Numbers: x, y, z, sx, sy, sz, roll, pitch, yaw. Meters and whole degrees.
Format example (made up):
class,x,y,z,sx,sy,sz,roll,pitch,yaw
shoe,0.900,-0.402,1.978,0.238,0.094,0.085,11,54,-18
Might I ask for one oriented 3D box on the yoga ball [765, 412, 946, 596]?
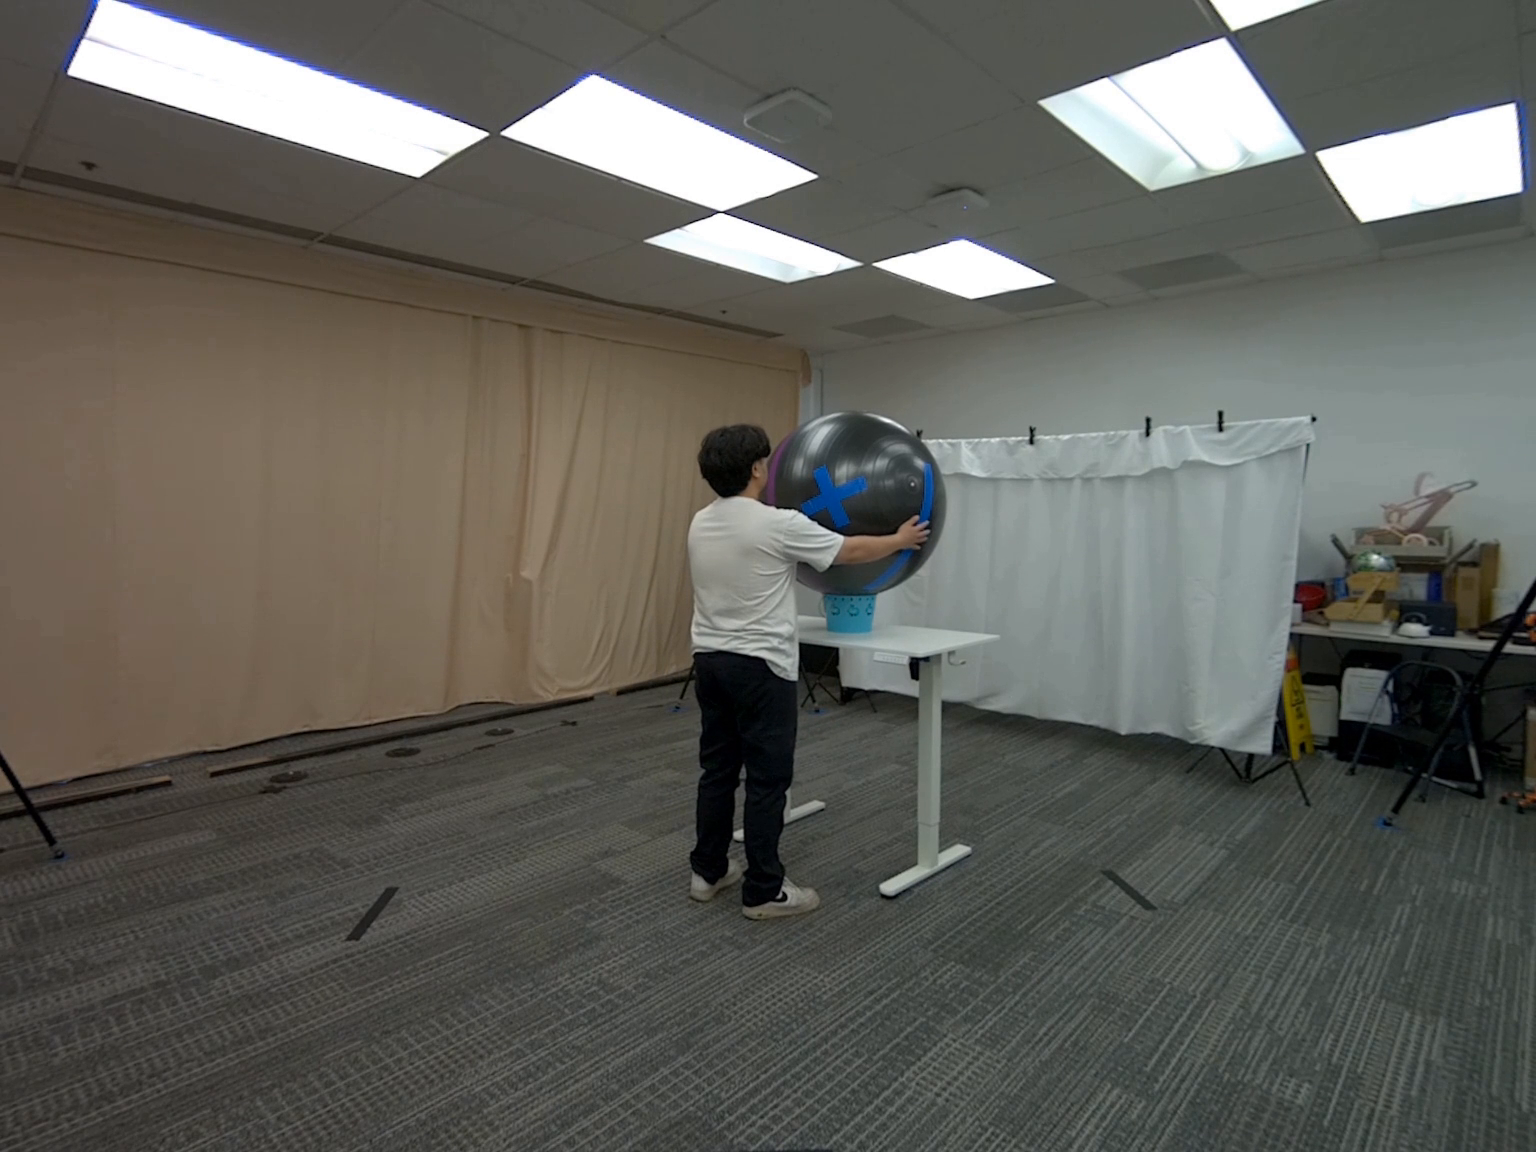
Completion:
class,x,y,z,sx,sy,sz,roll,pitch,yaw
yoga ball,0.340,-0.279,3.436,0.757,0.756,0.760,0,4,-2
